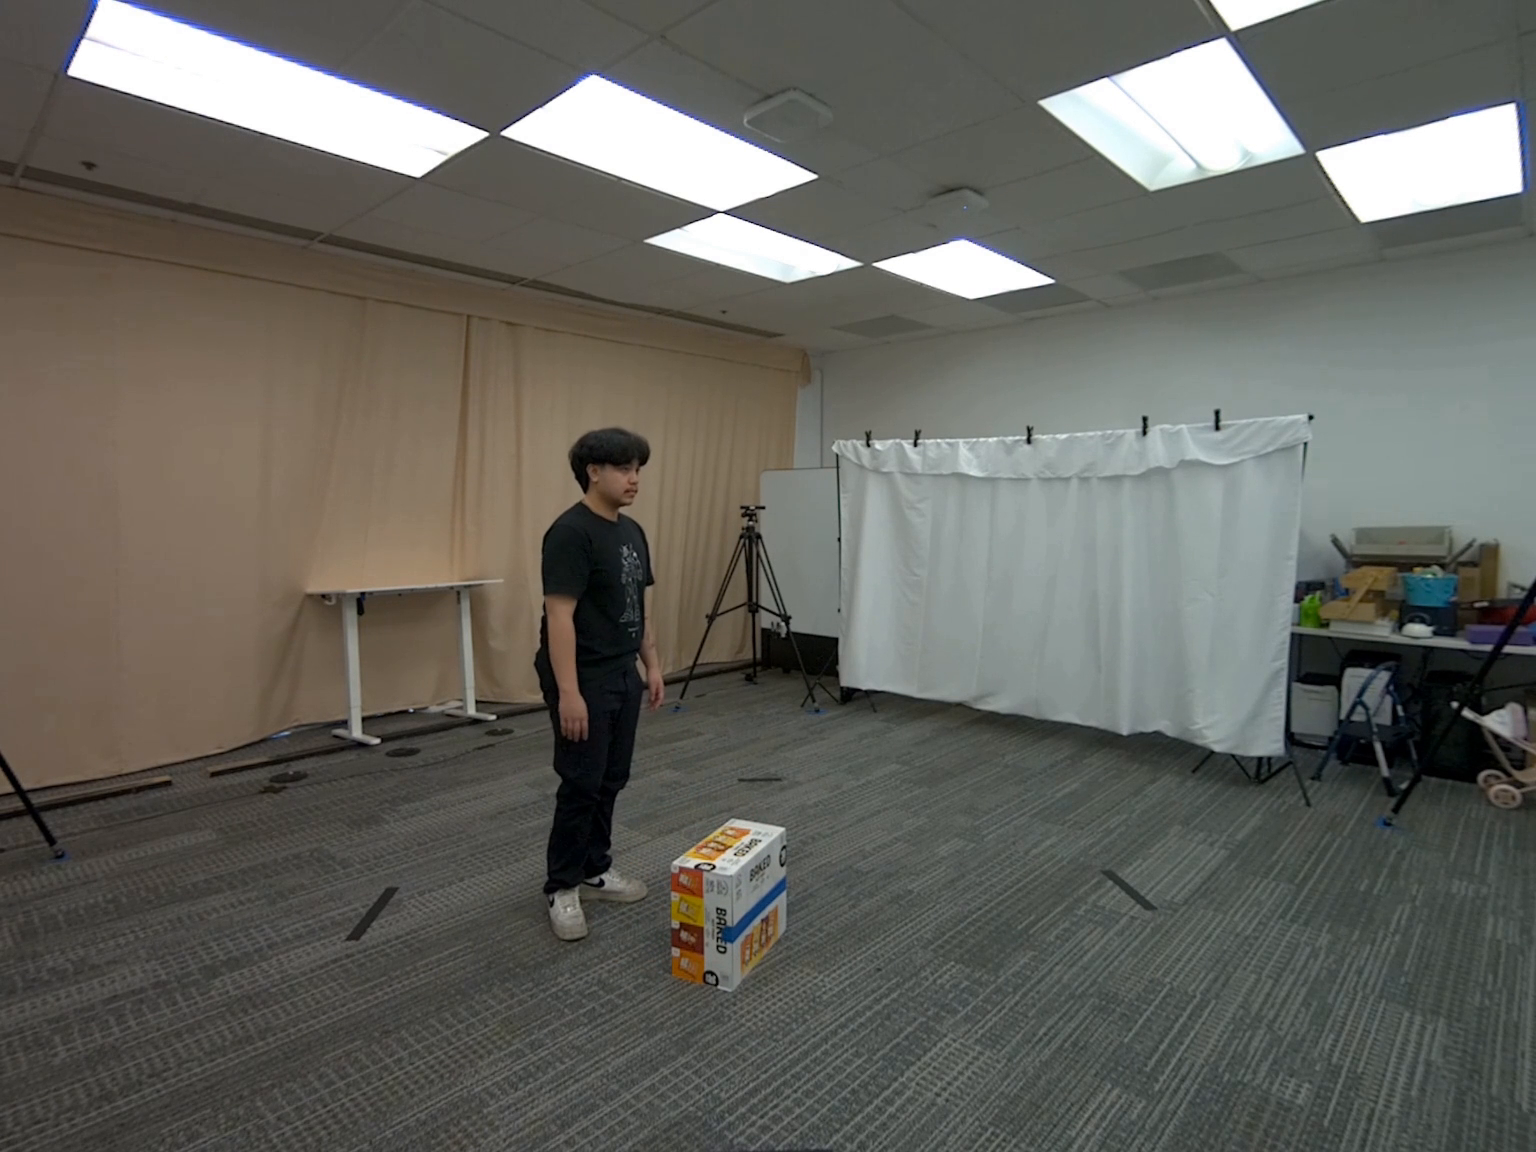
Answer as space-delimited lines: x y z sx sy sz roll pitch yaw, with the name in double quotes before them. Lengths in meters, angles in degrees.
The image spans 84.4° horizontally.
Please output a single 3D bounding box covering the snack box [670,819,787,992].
"snack box" -0.109 1.005 2.620 0.211 0.340 0.395 1 4 26
